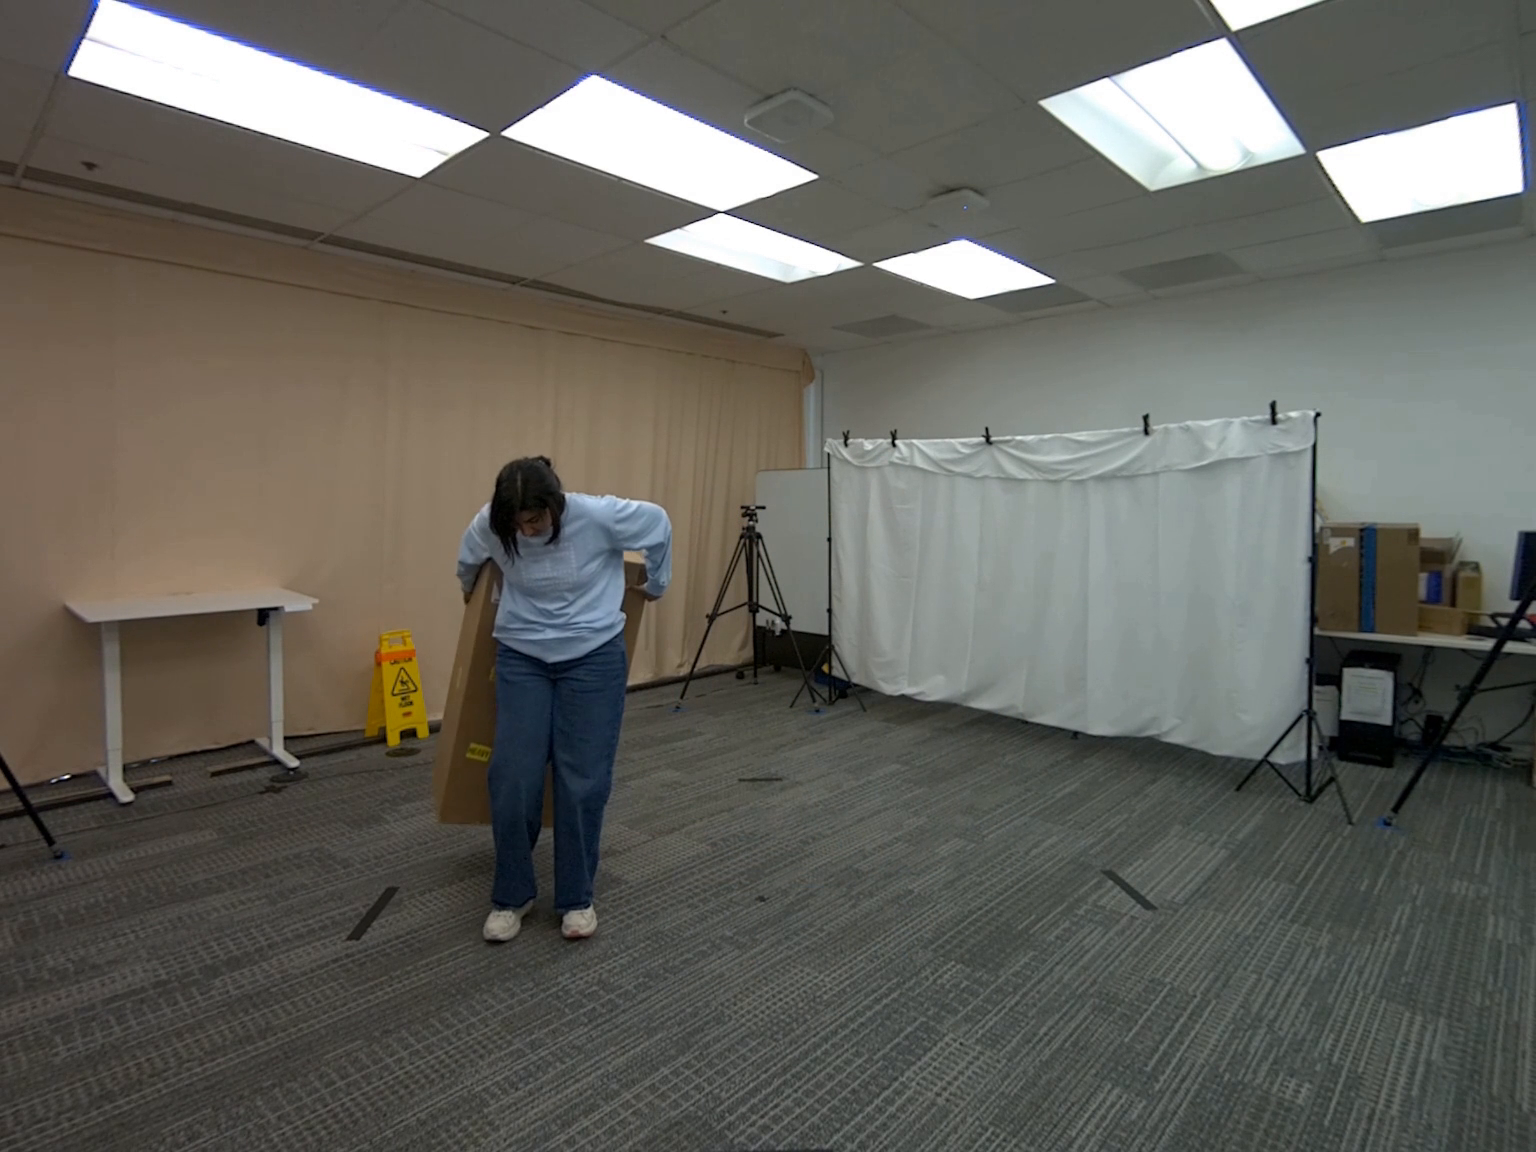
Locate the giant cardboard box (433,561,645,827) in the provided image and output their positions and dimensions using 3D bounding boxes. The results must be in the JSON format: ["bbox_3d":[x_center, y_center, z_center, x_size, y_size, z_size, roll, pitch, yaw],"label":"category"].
[{"bbox_3d":[-0.873,0.372,3.181,0.563,1.024,0.438,11,6,-24],"label":"giant cardboard box"}]
